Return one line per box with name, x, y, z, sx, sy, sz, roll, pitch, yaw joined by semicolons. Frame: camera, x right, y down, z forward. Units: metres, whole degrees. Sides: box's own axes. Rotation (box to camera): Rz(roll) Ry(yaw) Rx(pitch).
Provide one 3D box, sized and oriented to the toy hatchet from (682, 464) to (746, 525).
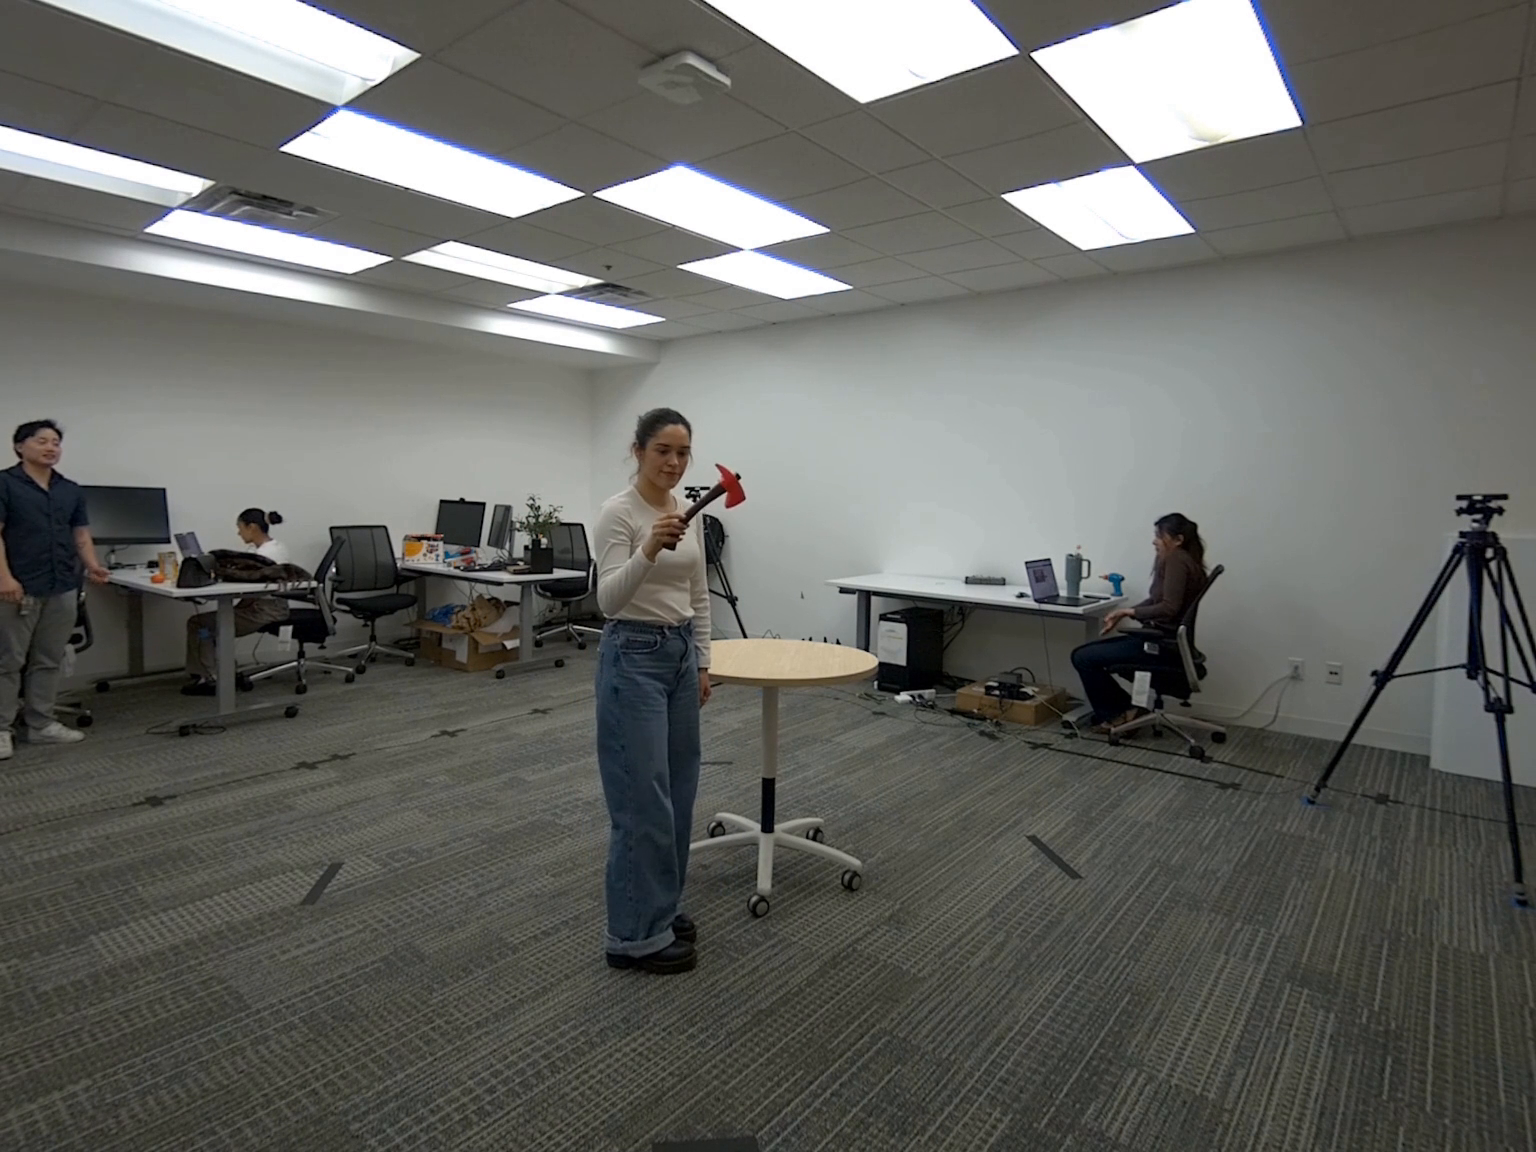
toy hatchet;-0.174;-0.164;2.233;0.127;0.269;0.030;29;13;-26
